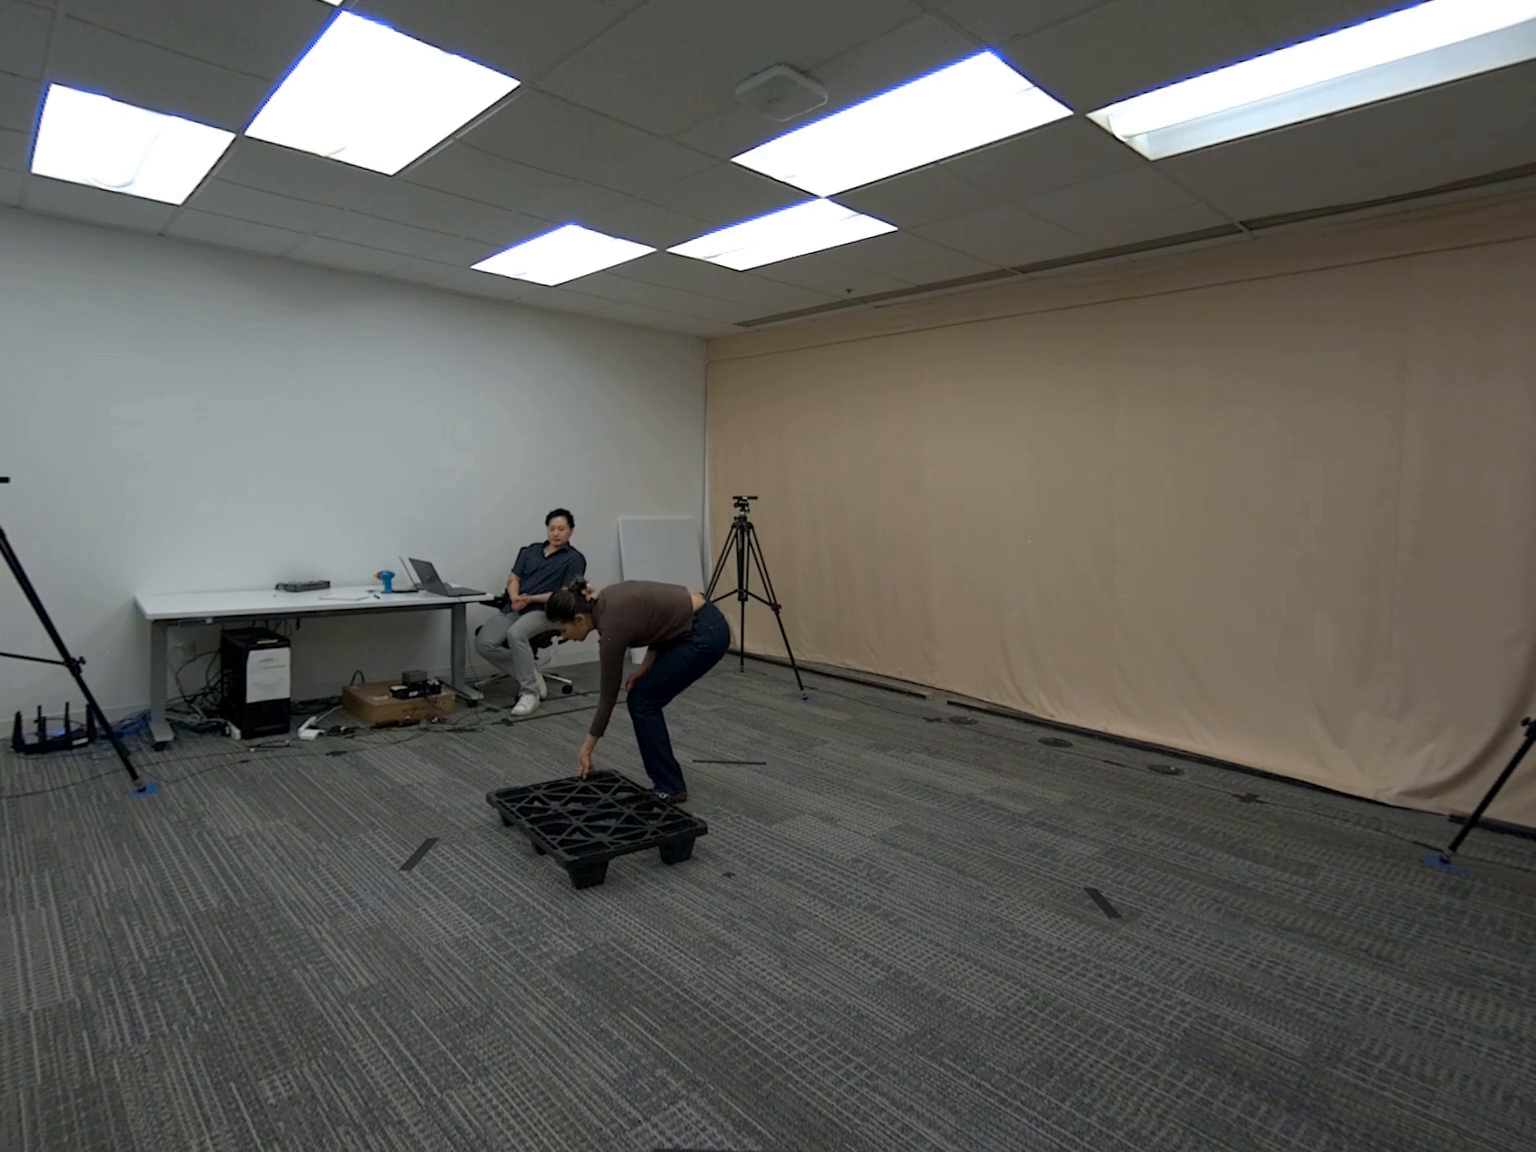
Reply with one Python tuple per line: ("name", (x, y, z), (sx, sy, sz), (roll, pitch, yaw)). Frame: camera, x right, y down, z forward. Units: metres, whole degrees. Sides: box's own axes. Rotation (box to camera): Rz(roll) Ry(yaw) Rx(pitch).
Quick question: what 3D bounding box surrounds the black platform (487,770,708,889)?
("black platform", (-0.711, 0.993, 3.385), (0.591, 0.143, 0.826), (-2, 7, -37))
